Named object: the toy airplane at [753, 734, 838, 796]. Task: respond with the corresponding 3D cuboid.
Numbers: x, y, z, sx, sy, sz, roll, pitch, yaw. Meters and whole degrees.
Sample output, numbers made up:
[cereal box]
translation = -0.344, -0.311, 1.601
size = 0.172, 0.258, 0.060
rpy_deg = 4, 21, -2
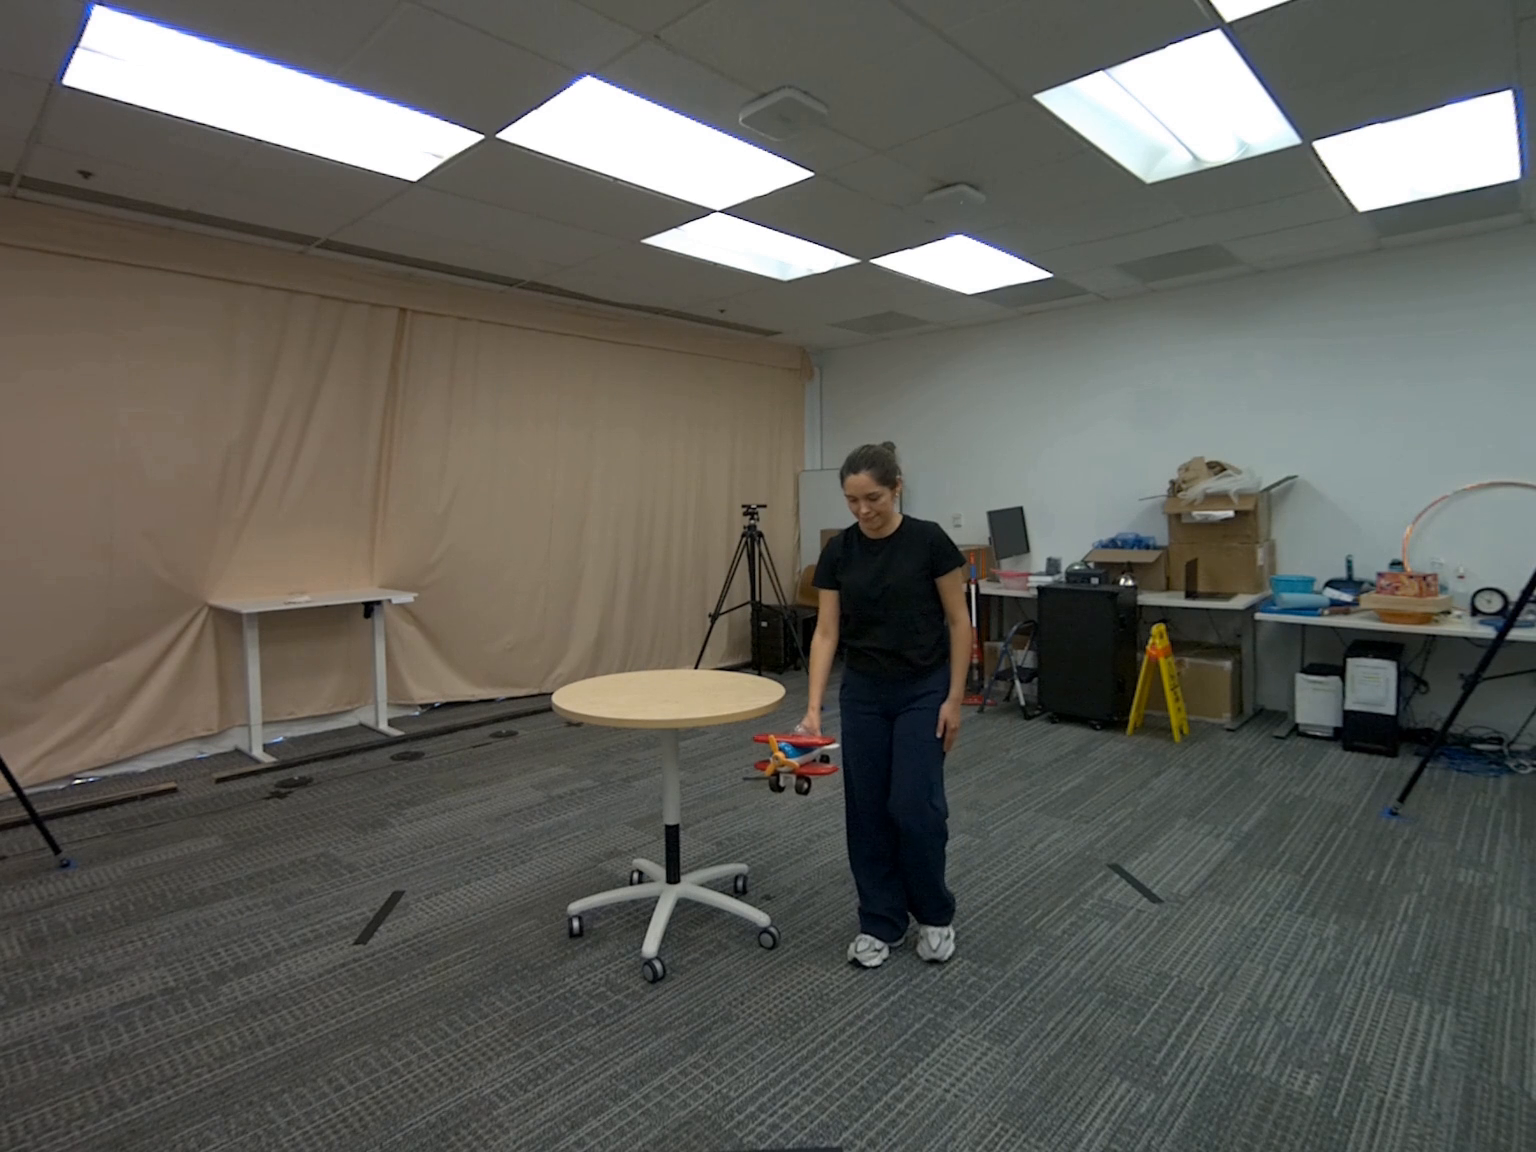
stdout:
[toy airplane]
translation = 0.087, 0.515, 2.425
size = 0.253, 0.155, 0.260
rpy_deg = -11, 12, 6
